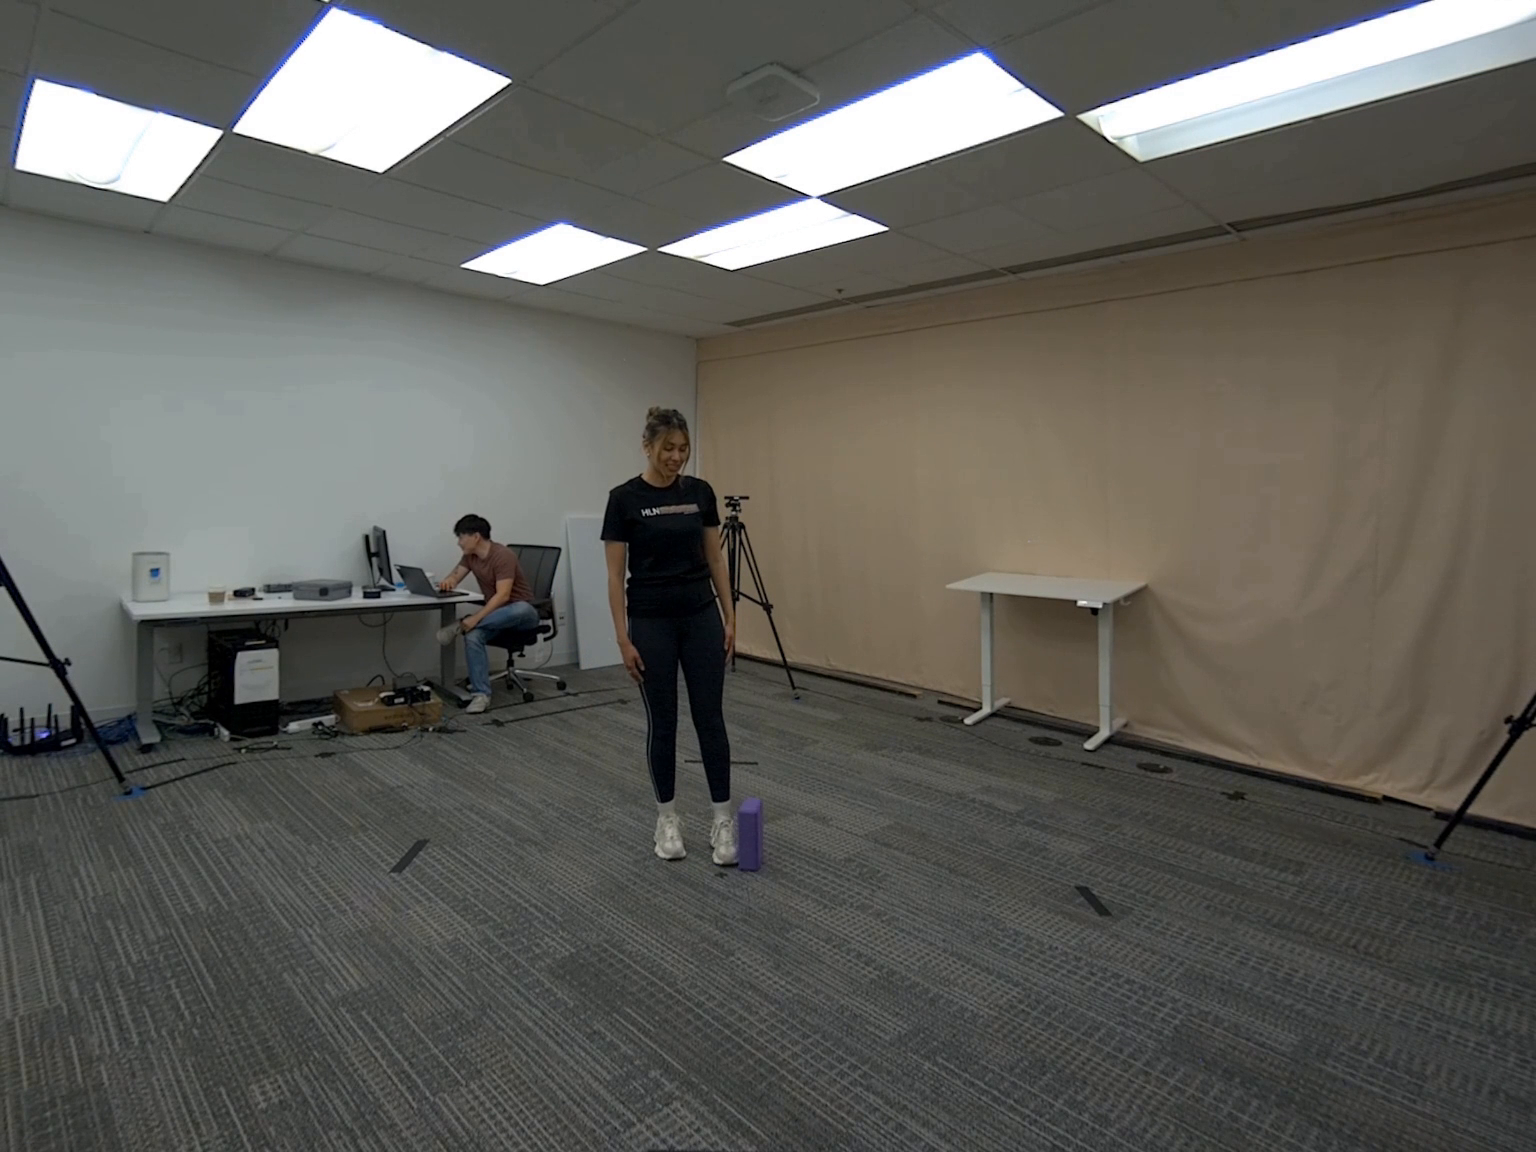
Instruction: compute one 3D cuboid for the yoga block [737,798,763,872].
[{"bbox_3d":[-0.073,0.981,3.202,0.077,0.229,0.148,0,4,10],"label":"yoga block"}]
